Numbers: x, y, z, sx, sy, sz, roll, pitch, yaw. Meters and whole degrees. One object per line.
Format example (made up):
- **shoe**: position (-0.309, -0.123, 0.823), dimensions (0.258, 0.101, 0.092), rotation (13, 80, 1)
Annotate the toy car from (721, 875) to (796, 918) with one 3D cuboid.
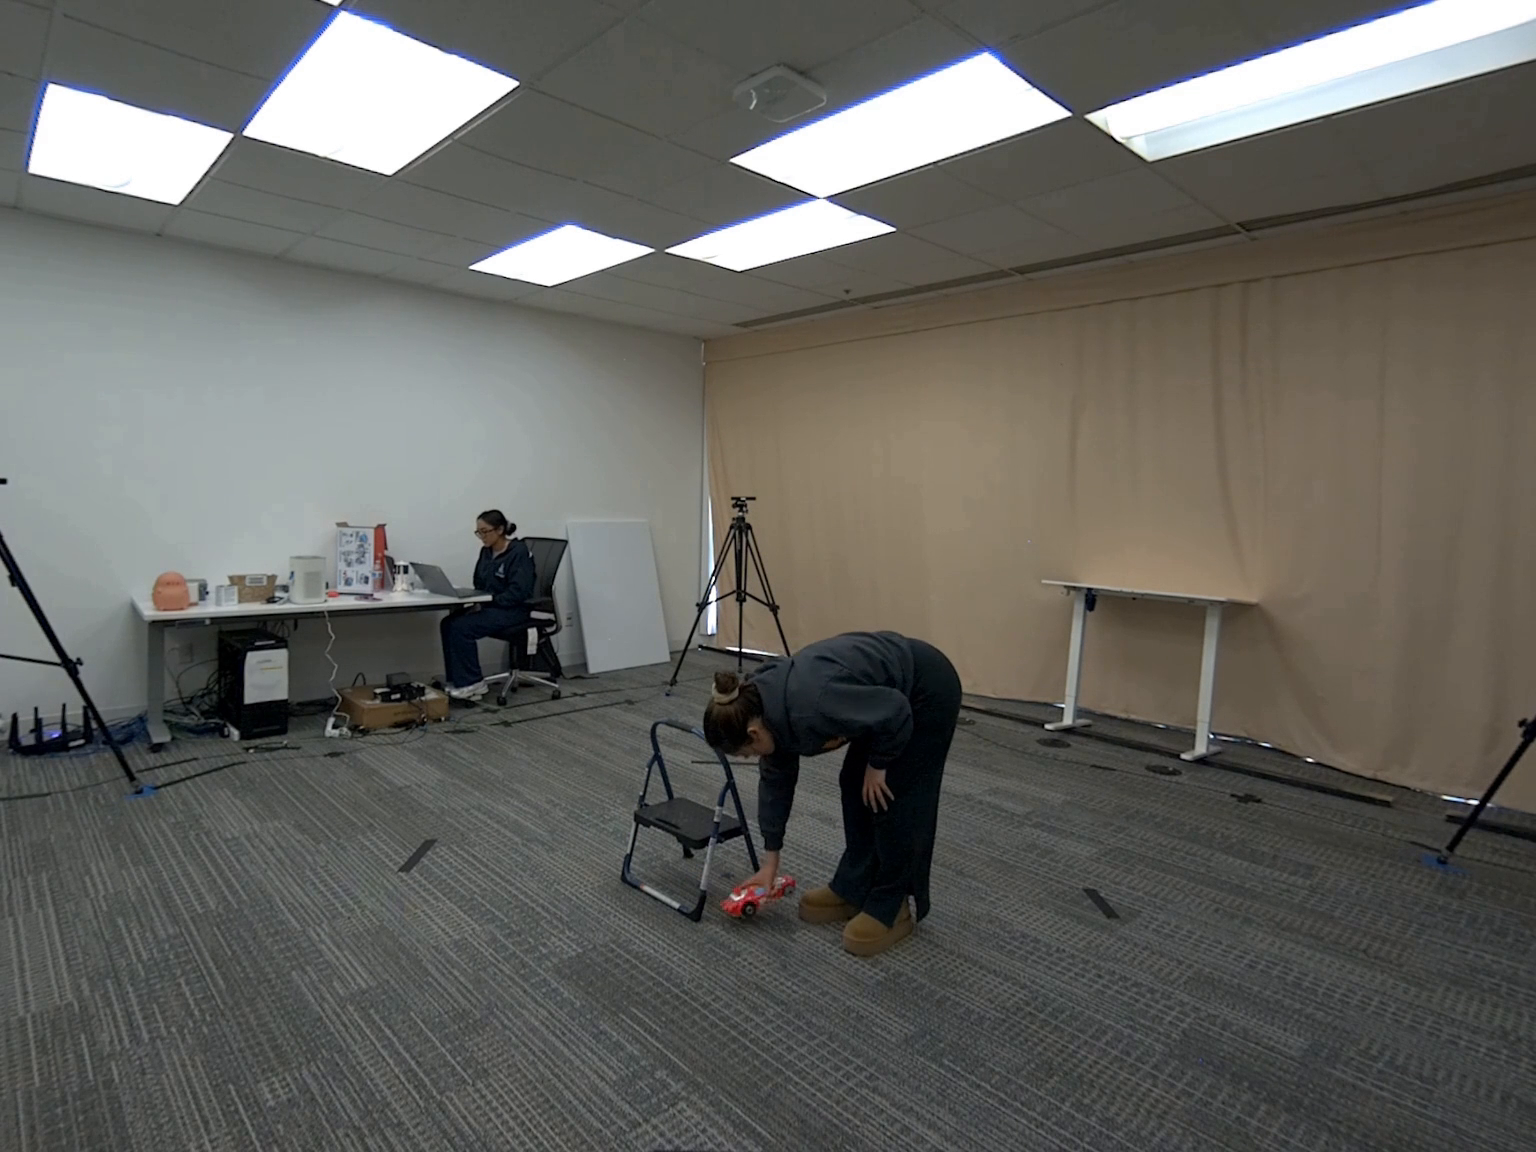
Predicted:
- **toy car**: position (-0.035, 1.050, 2.786), dimensions (0.252, 0.084, 0.131), rotation (-6, -6, -15)
